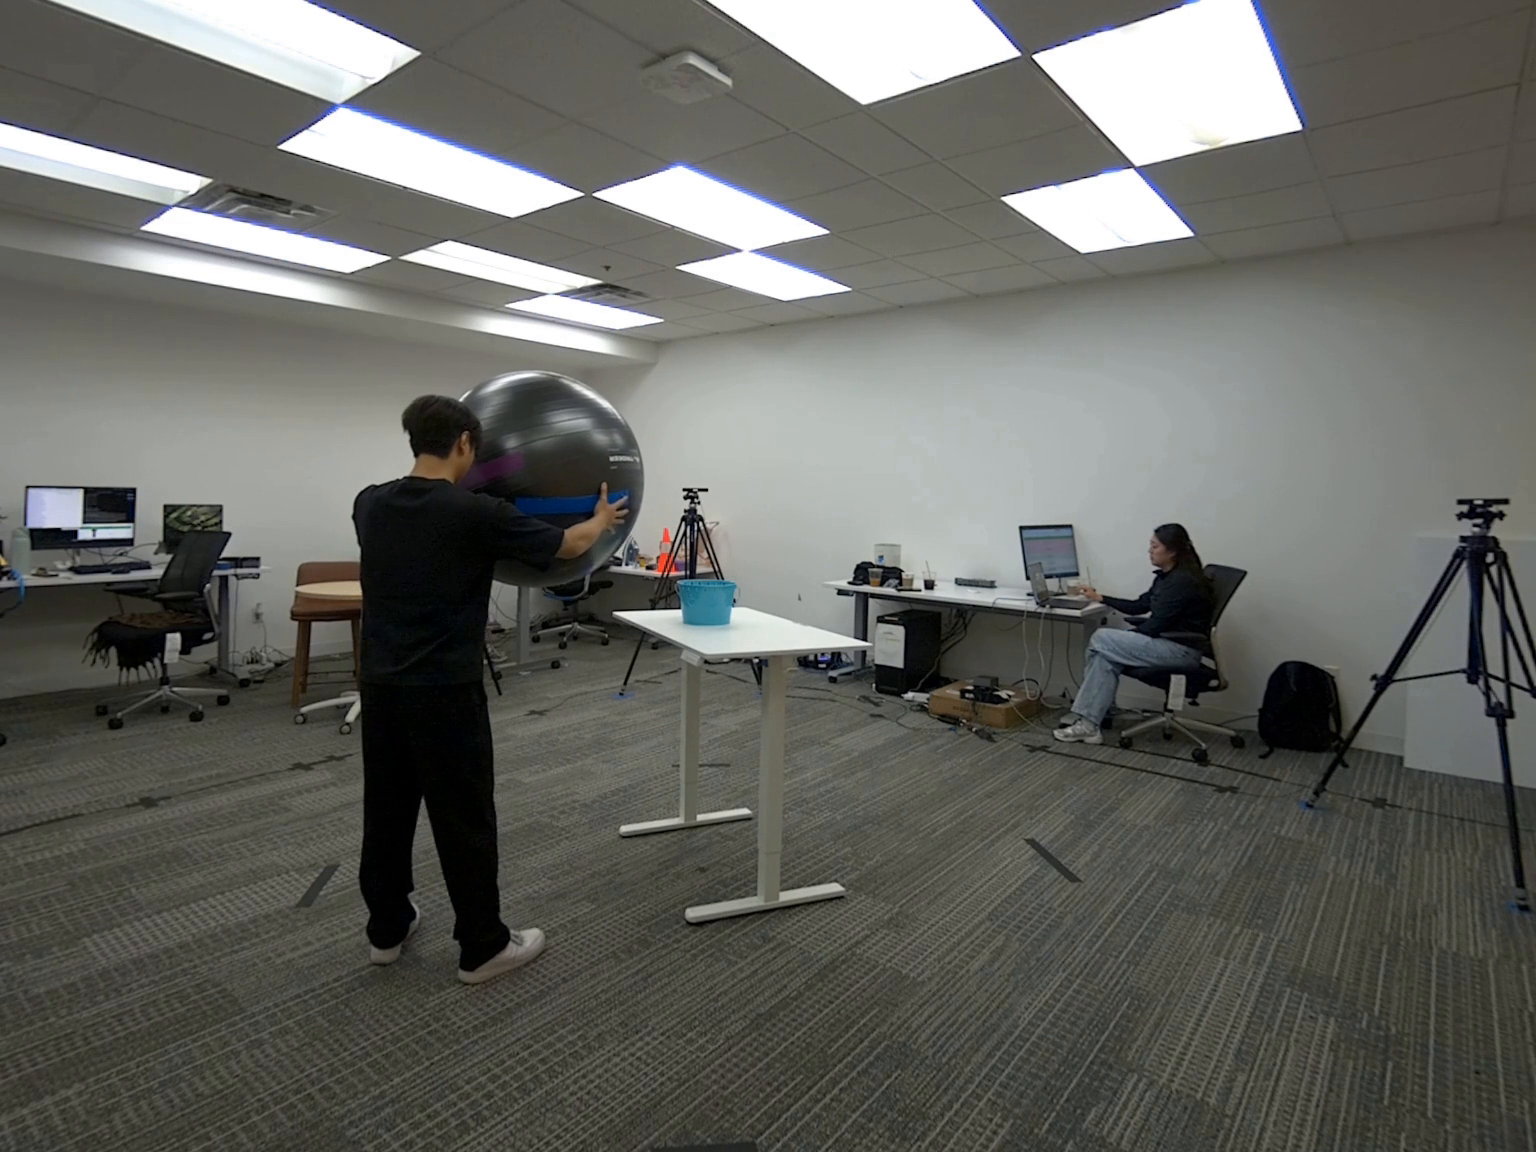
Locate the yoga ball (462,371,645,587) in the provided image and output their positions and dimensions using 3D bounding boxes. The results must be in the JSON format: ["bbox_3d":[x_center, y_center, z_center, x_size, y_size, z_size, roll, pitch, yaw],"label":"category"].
[{"bbox_3d":[-0.833,-0.336,3.006,0.757,0.756,0.762,1,4,-2],"label":"yoga ball"}]
